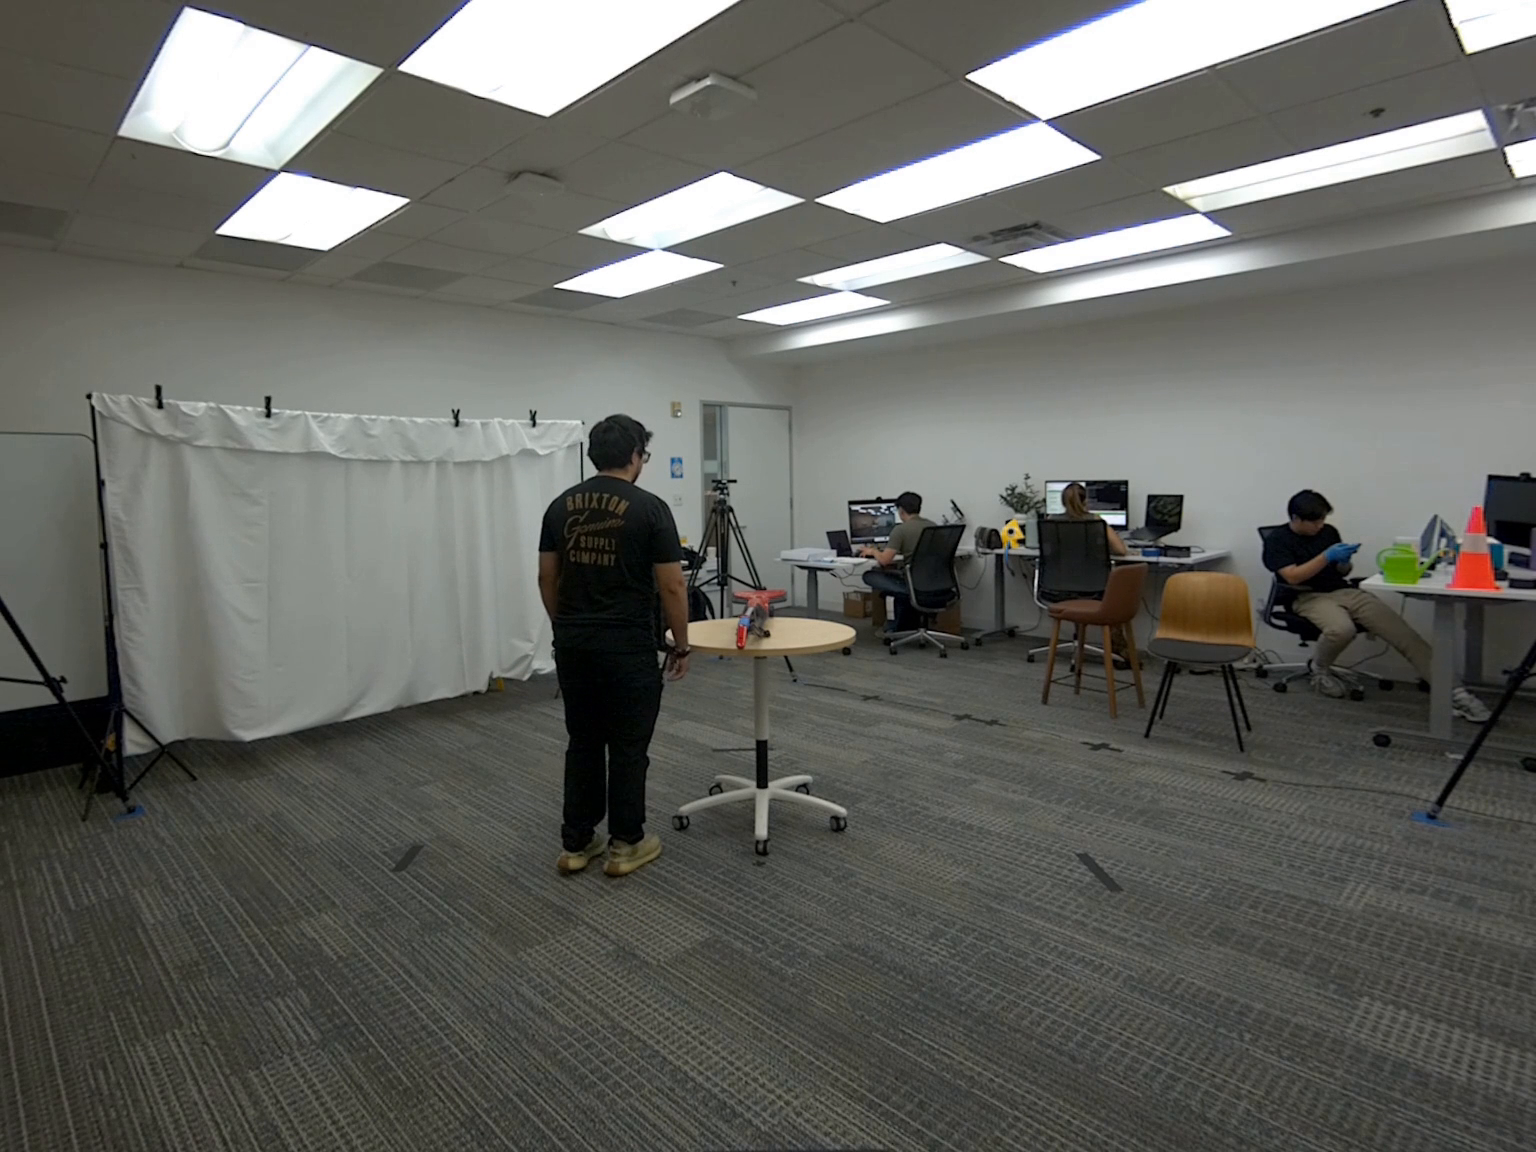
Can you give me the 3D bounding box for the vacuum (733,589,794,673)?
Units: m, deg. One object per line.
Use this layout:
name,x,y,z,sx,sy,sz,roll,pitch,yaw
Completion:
vacuum,-0.067,0.177,3.351,0.254,0.143,1.047,1,5,4
